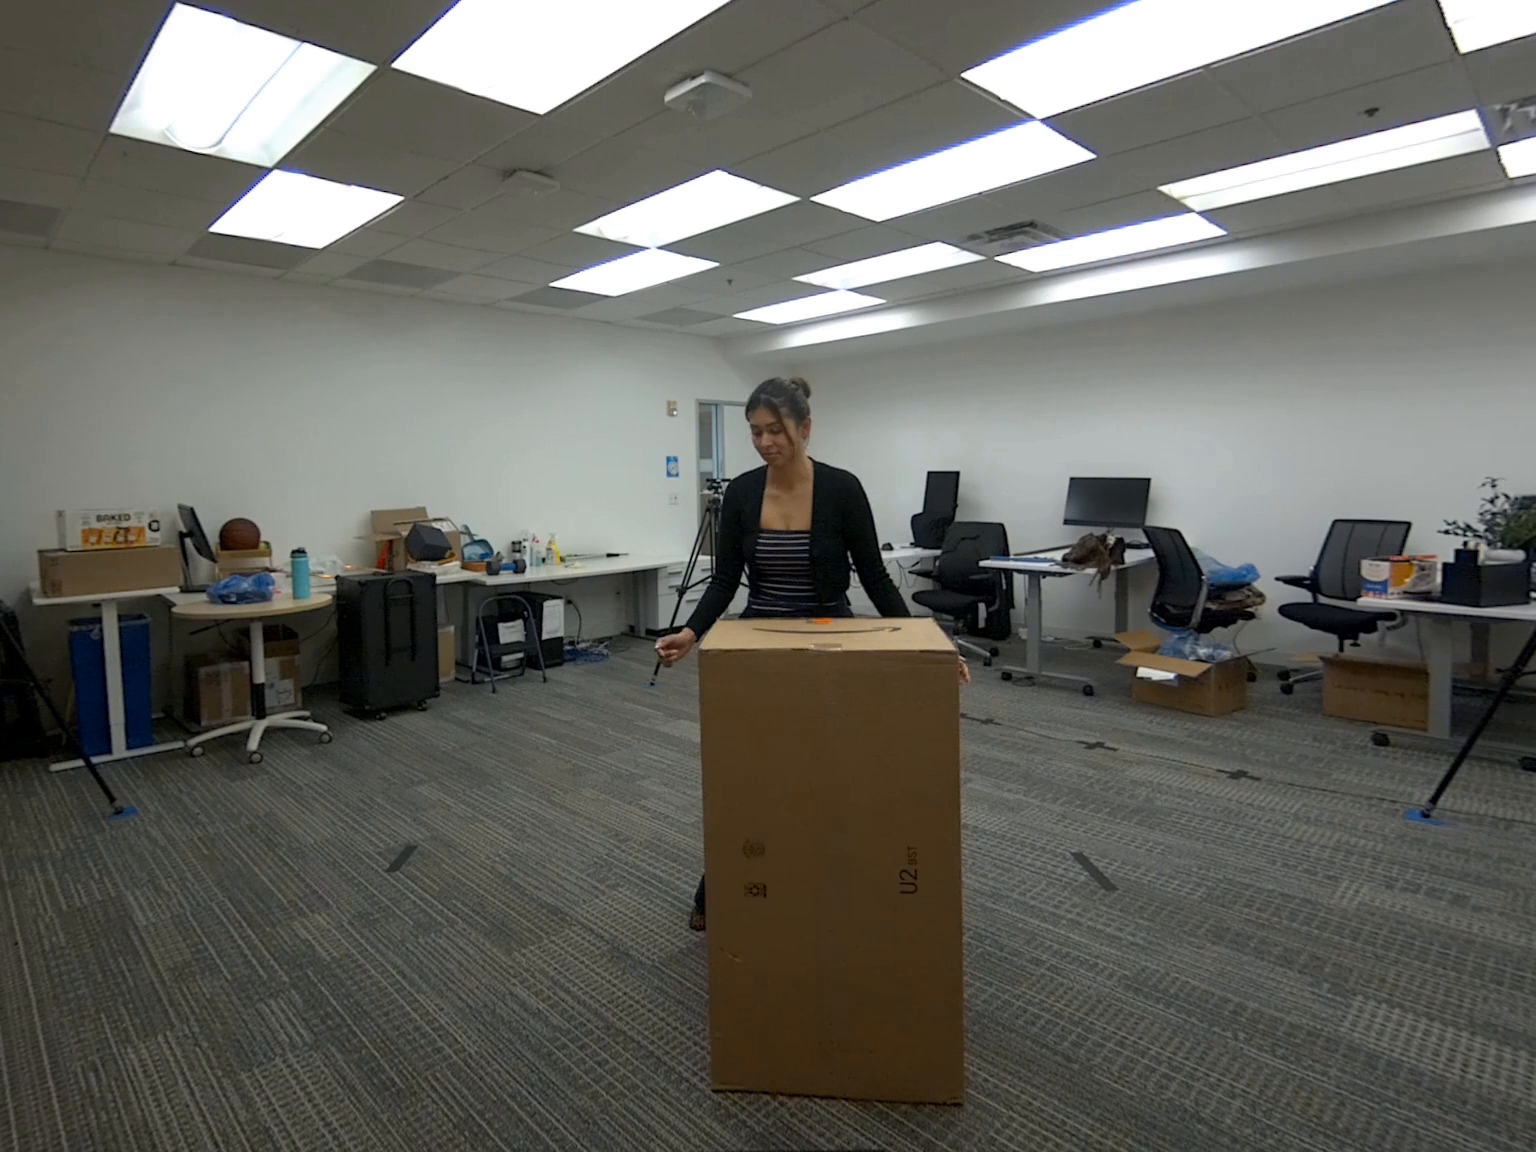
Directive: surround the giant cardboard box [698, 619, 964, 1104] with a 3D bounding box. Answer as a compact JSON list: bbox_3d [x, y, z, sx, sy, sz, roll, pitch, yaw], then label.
[{"bbox_3d":[0.162,0.648,2.100,0.581,1.022,0.425,-1,4,5],"label":"giant cardboard box"}]
